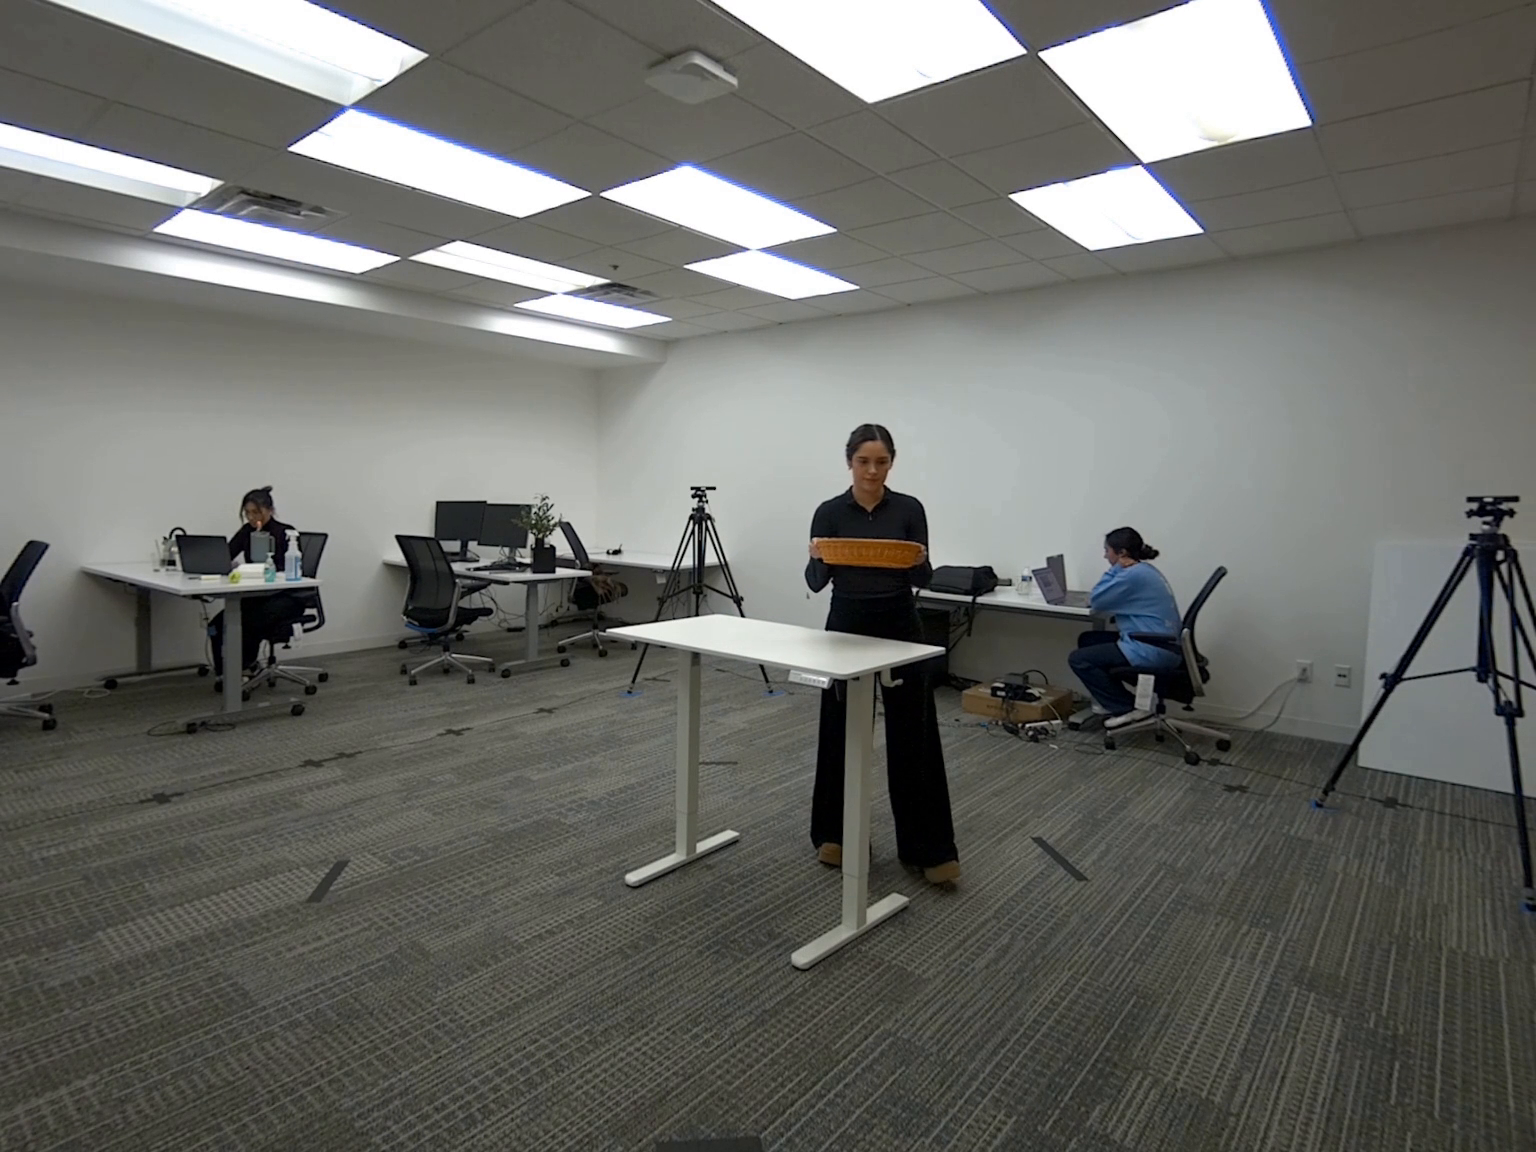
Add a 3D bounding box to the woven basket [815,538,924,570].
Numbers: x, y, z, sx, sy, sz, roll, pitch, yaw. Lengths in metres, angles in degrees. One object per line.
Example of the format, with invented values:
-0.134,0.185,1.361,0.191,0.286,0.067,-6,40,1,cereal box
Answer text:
0.336,-0.077,2.850,0.361,0.073,0.244,3,-1,33,woven basket
